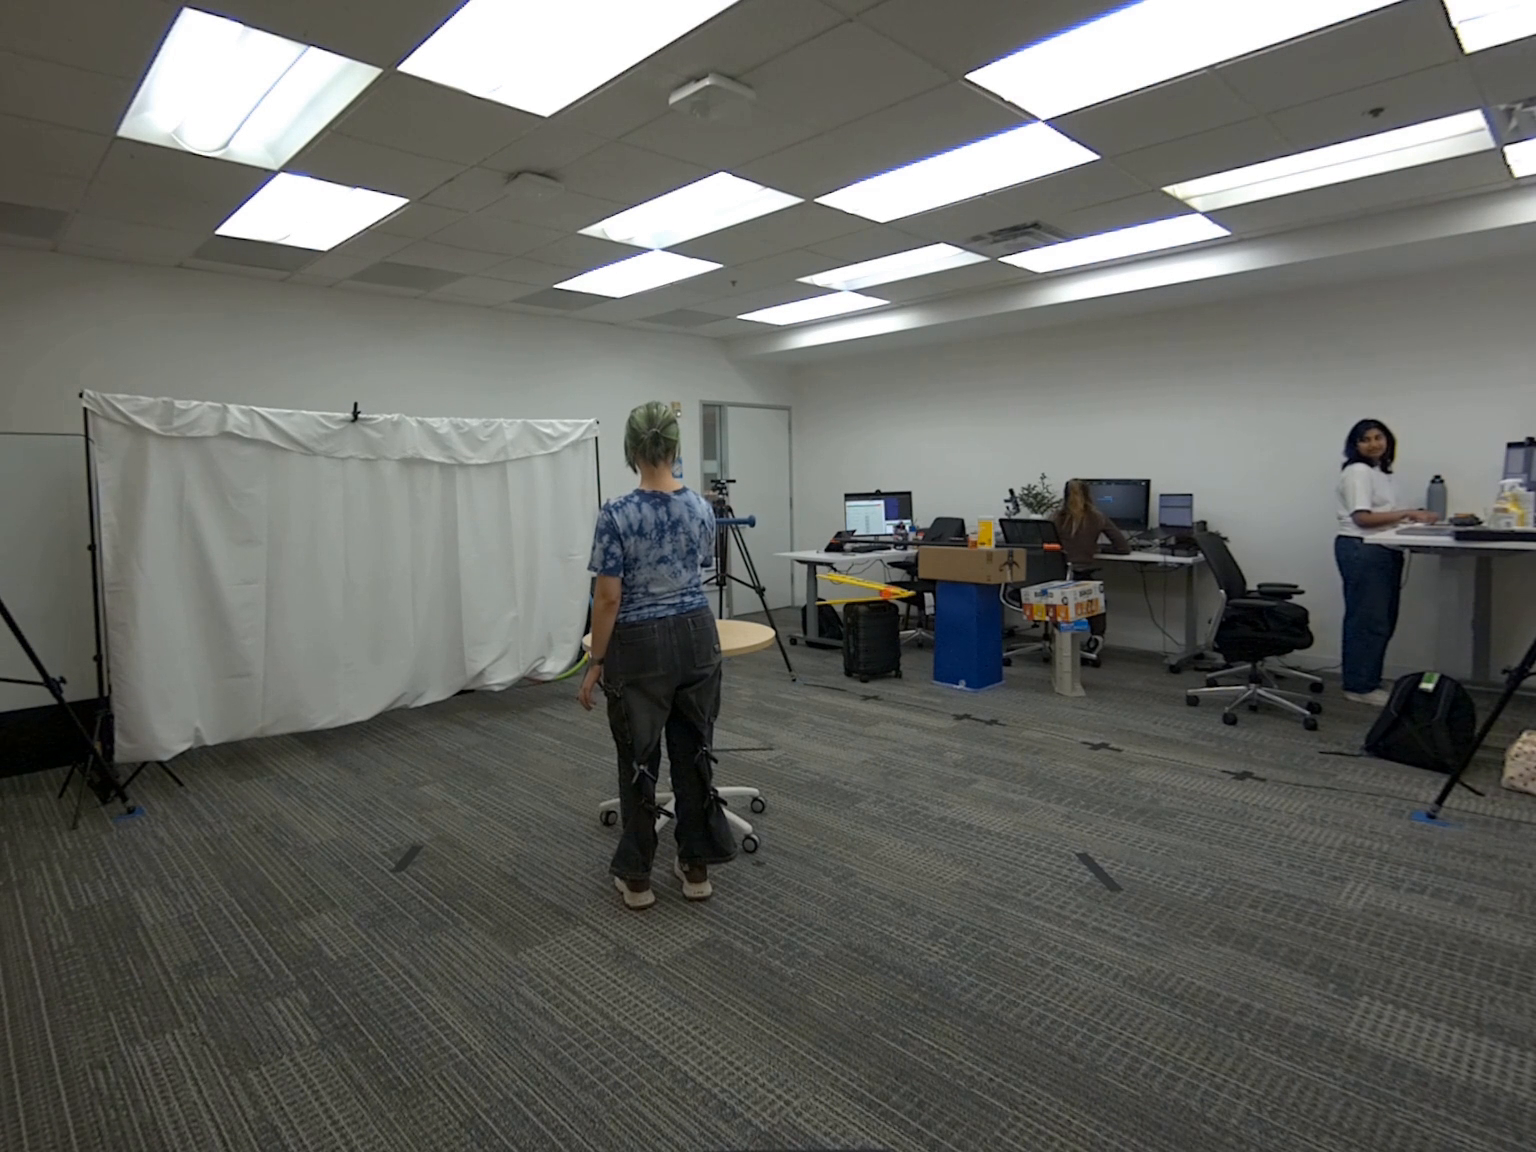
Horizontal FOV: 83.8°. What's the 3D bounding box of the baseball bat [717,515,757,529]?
[{"bbox_3d":[-0.319,-0.214,3.318,0.538,0.089,0.090,0,4,-9],"label":"baseball bat"}]
